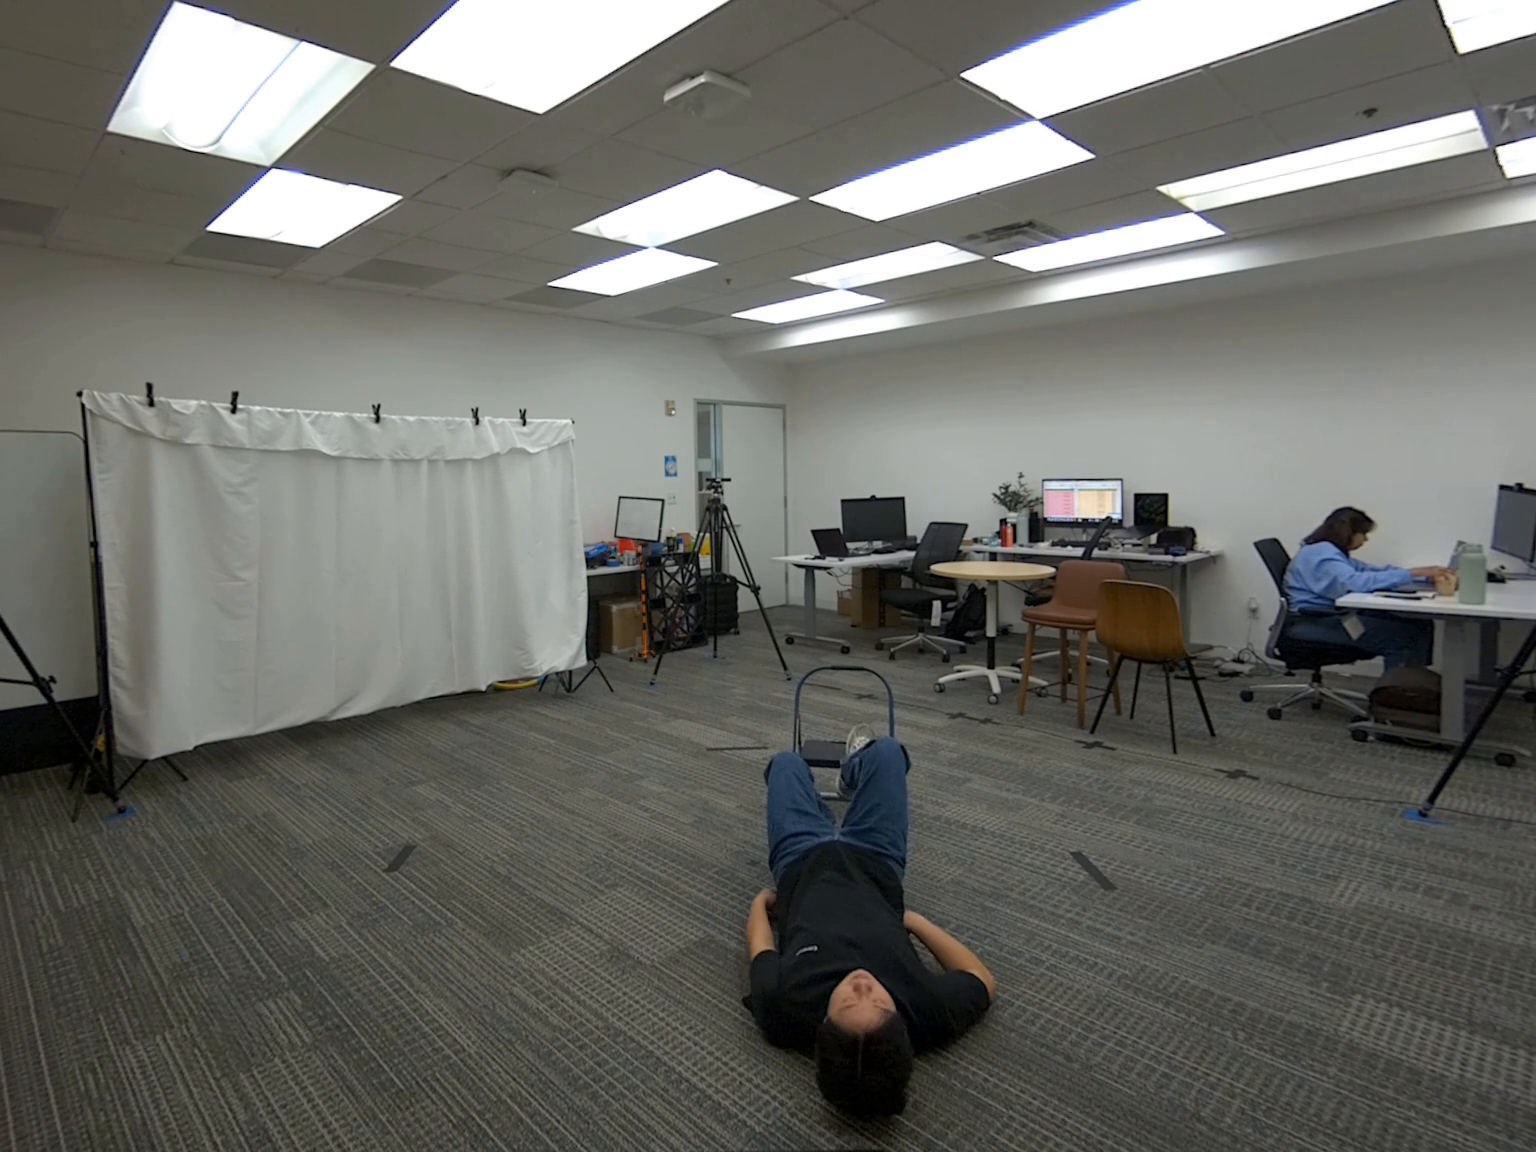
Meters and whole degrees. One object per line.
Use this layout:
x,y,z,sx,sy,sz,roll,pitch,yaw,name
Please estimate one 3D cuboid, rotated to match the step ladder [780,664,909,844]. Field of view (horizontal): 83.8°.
0.315,0.685,3.528,0.434,0.603,0.348,1,6,8,step ladder
